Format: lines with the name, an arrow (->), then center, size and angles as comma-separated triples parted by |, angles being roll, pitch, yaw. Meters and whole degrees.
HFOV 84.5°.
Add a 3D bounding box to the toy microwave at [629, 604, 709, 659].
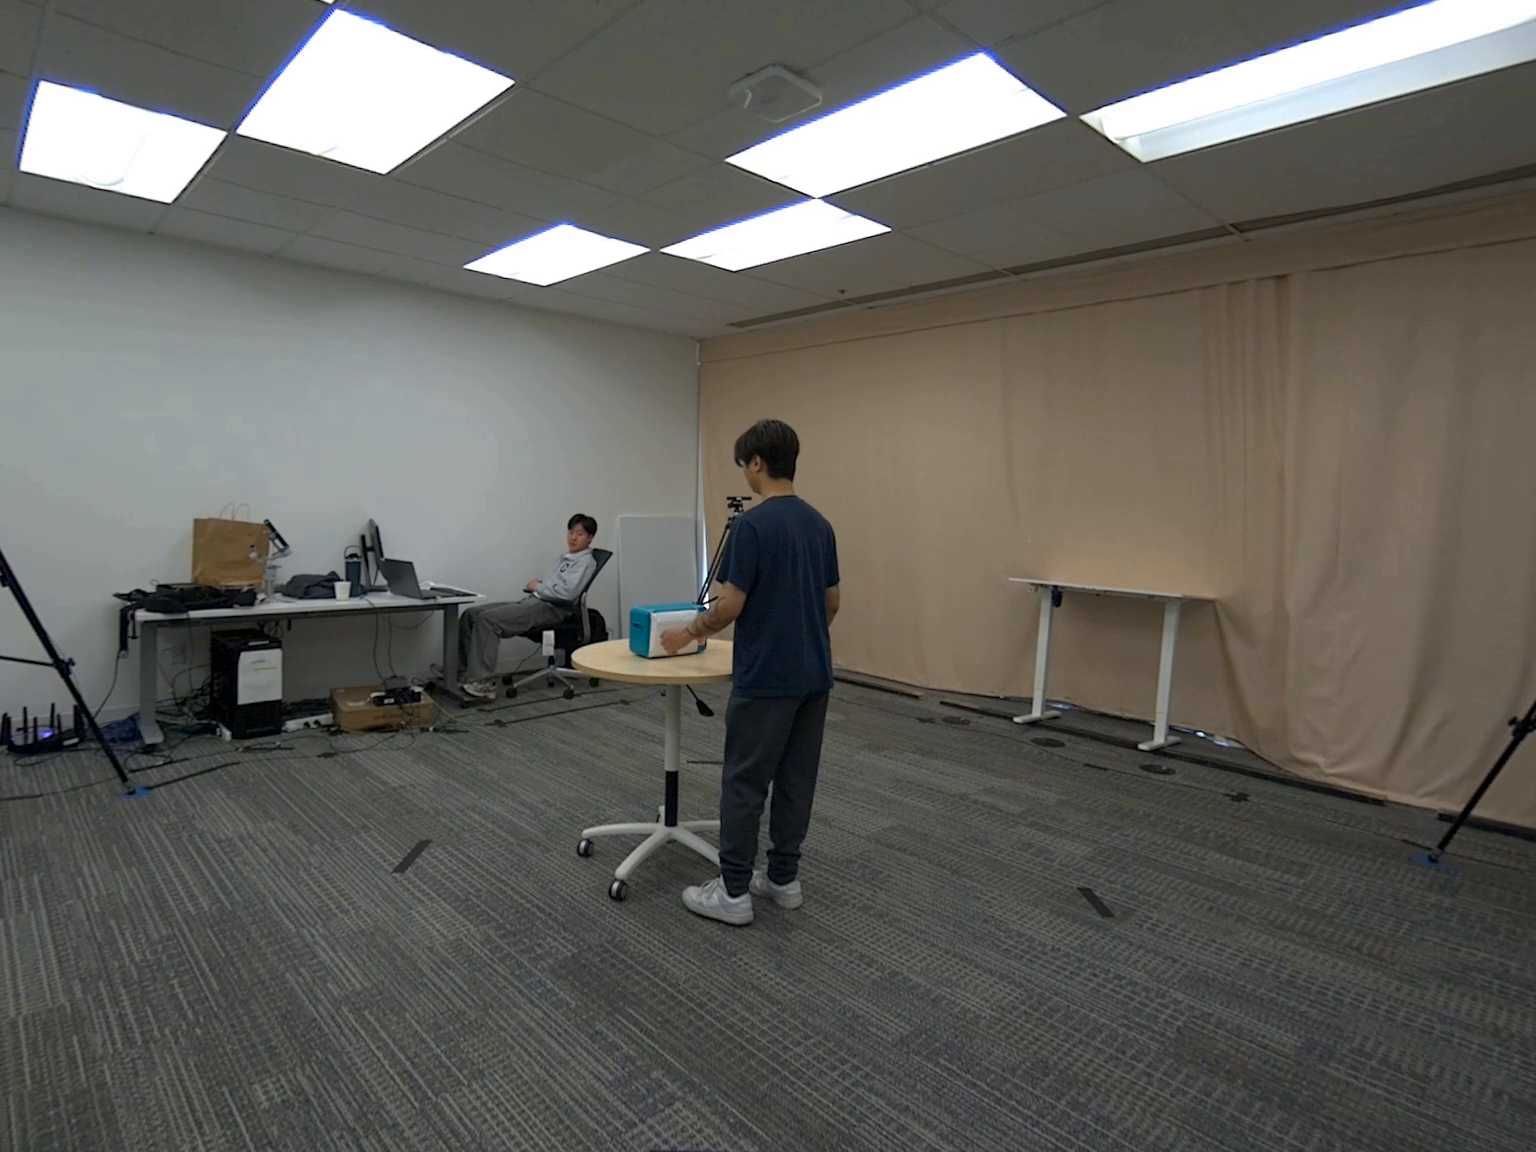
toy microwave -> -0.378, 0.205, 3.182 | 0.280, 0.183, 0.156 | -2, 6, -38
